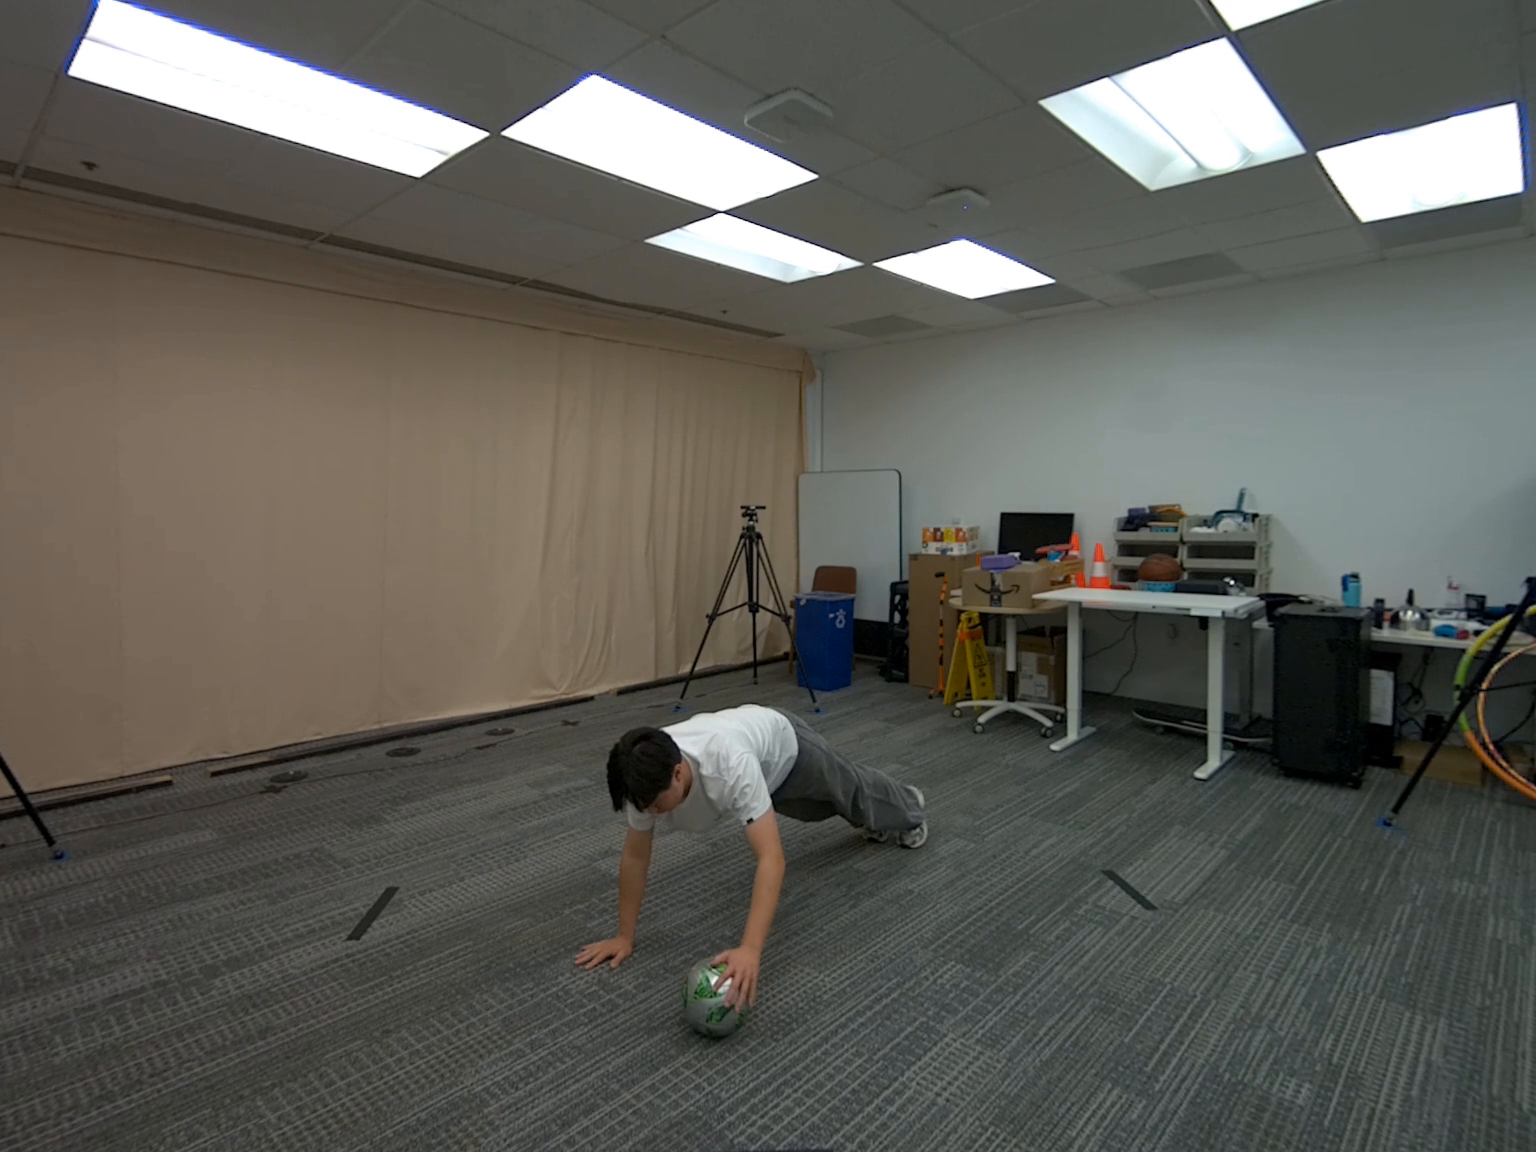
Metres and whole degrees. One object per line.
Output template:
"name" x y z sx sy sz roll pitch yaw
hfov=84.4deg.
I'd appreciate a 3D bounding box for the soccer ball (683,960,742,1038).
"soccer ball" -0.136 1.112 2.242 0.187 0.187 0.188 0 4 -2
